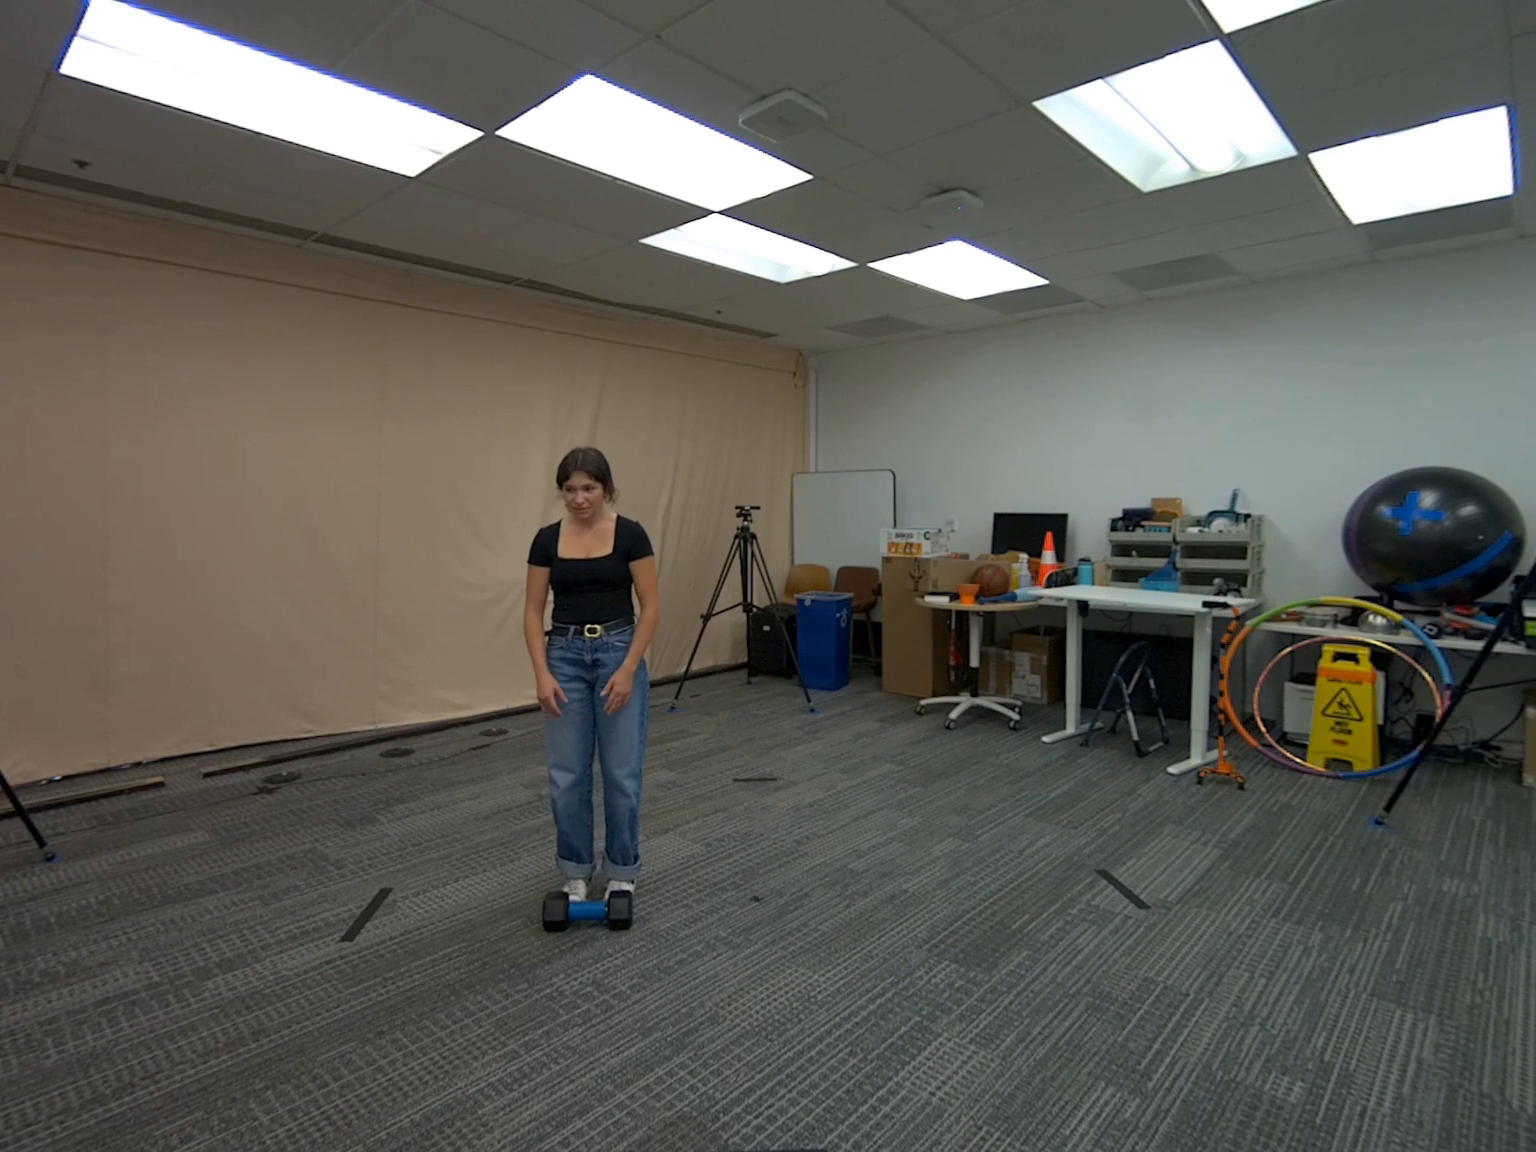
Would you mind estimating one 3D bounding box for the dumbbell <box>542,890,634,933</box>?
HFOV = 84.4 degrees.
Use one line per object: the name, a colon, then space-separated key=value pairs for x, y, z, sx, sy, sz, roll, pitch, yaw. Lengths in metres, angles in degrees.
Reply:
dumbbell: x=-0.597 y=1.104 z=2.794 sx=0.293 sy=0.125 sz=0.107 roll=-1 pitch=-26 yaw=-2
